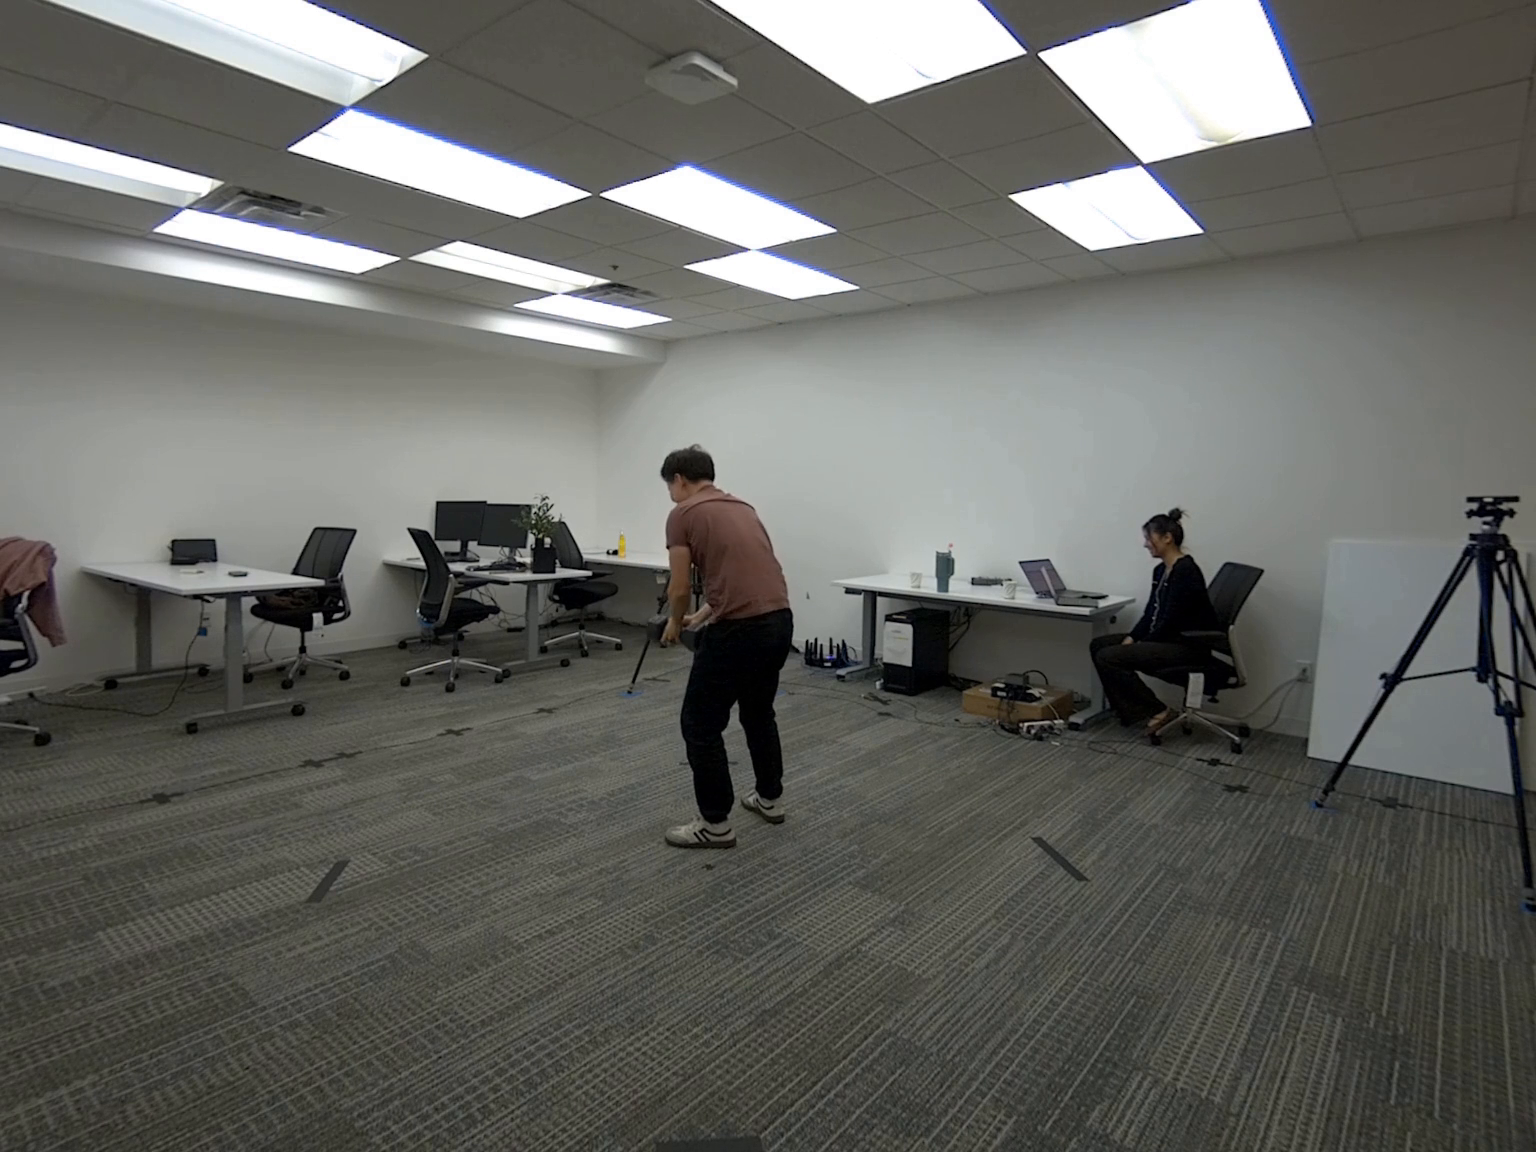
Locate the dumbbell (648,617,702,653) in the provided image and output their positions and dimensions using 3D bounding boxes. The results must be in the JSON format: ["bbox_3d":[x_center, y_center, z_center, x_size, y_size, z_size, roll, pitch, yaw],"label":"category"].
[{"bbox_3d":[-0.394,0.234,3.600,0.304,0.123,0.105,10,3,40],"label":"dumbbell"}]
